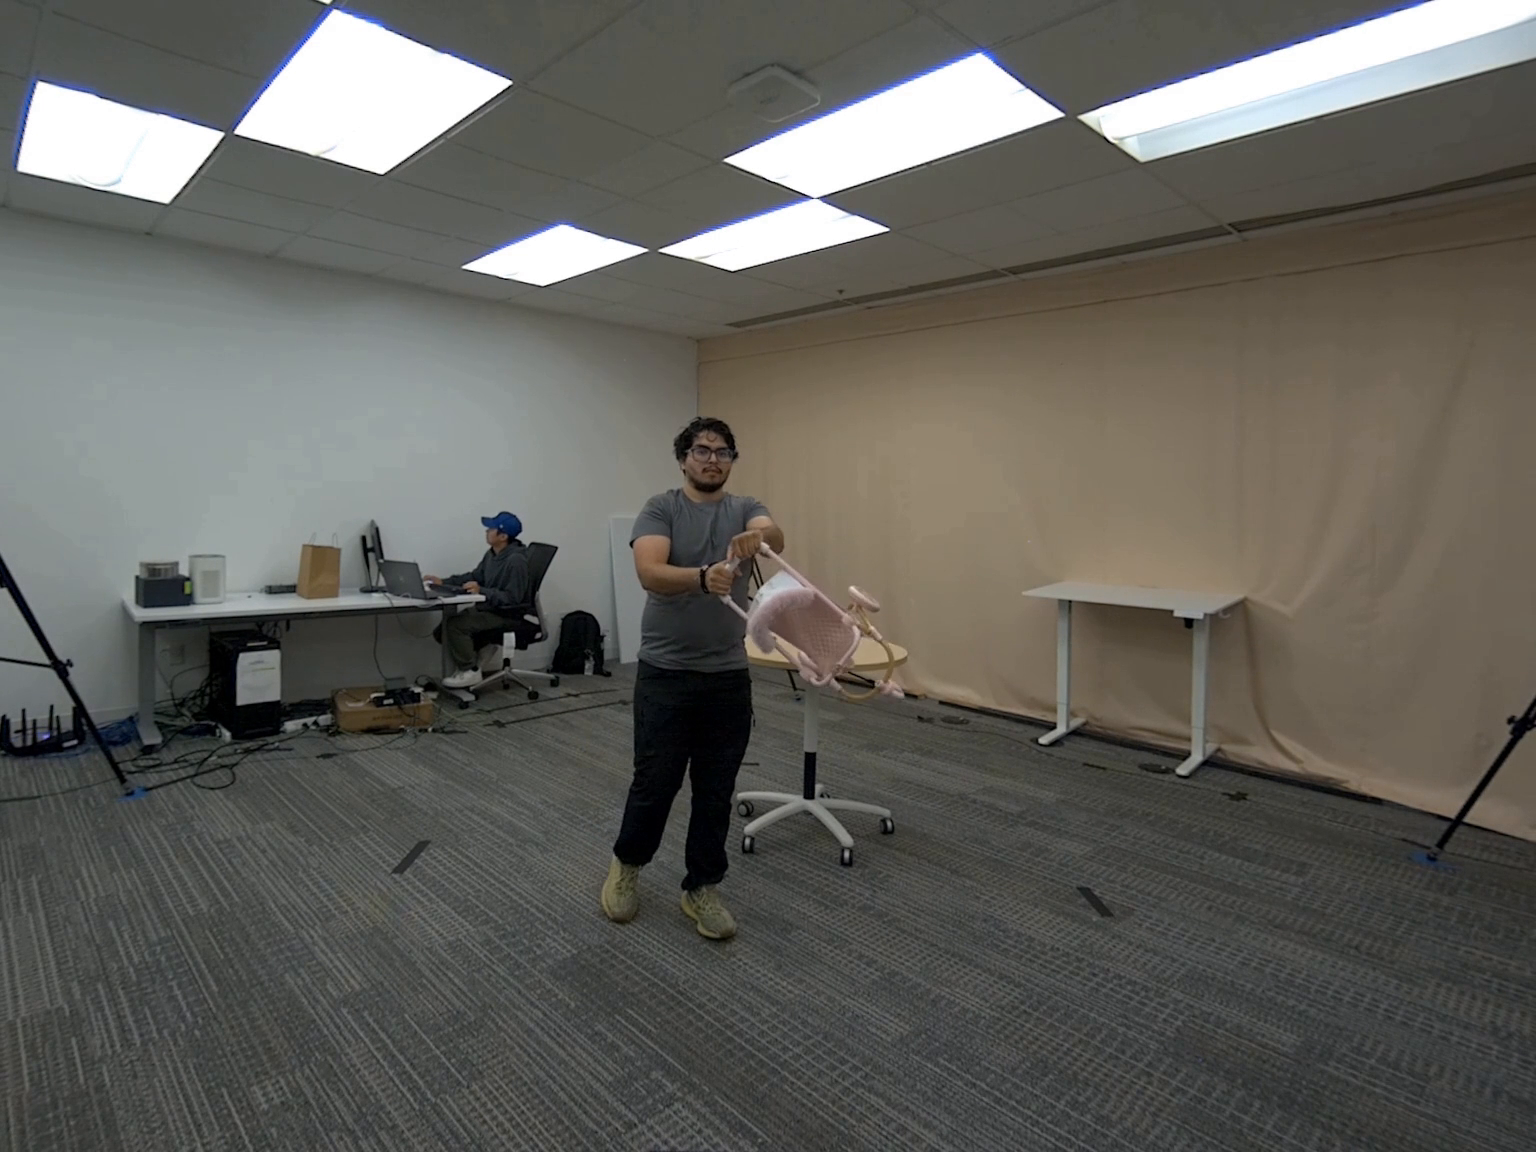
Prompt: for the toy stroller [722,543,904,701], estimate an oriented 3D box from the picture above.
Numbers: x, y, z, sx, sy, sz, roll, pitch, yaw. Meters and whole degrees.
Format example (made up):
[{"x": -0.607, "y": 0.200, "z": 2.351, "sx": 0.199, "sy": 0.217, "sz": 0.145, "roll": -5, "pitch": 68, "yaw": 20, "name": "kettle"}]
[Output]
[{"x": 0.123, "y": 0.159, "z": 2.331, "sx": 0.520, "sy": 0.281, "sz": 0.351, "roll": 31, "pitch": 20, "yaw": -33, "name": "toy stroller"}]
